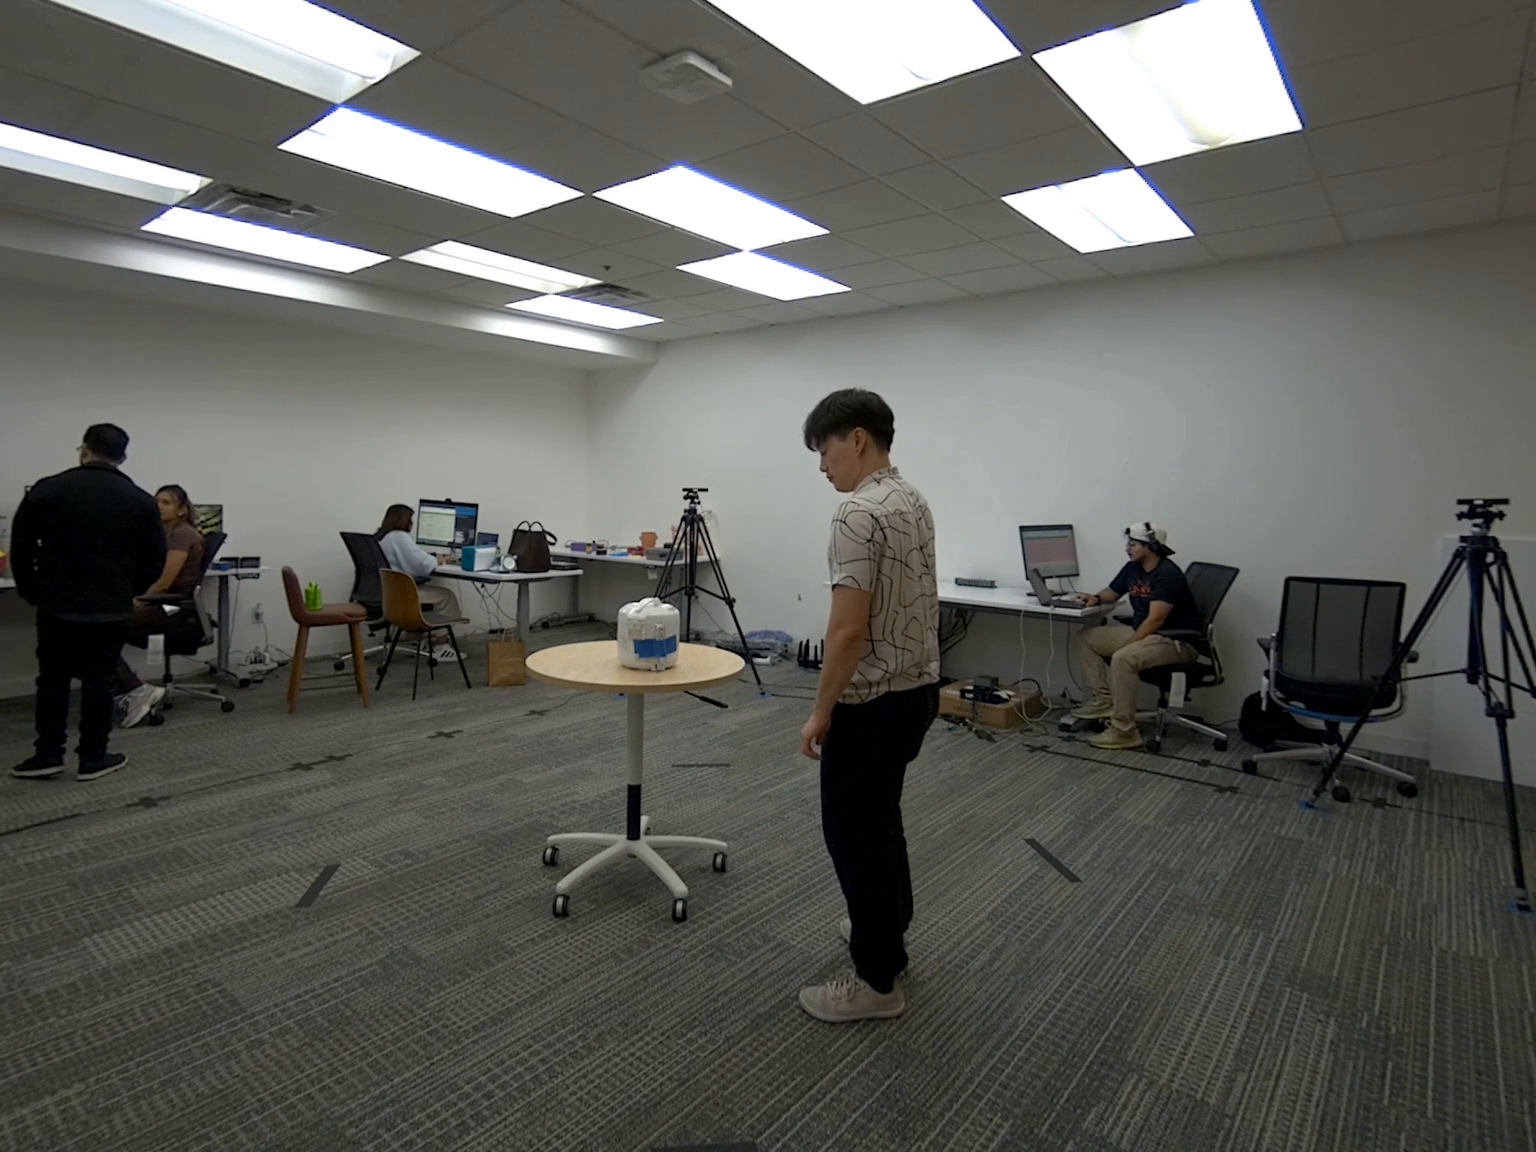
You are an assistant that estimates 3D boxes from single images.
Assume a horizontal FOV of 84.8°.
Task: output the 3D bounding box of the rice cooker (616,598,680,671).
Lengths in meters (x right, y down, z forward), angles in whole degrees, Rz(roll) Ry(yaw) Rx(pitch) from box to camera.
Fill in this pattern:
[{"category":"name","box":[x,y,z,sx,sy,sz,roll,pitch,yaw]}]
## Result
[{"category":"rice cooker","box":[-0.421,0.189,2.903,0.222,0.232,0.217,4,5,19]}]
